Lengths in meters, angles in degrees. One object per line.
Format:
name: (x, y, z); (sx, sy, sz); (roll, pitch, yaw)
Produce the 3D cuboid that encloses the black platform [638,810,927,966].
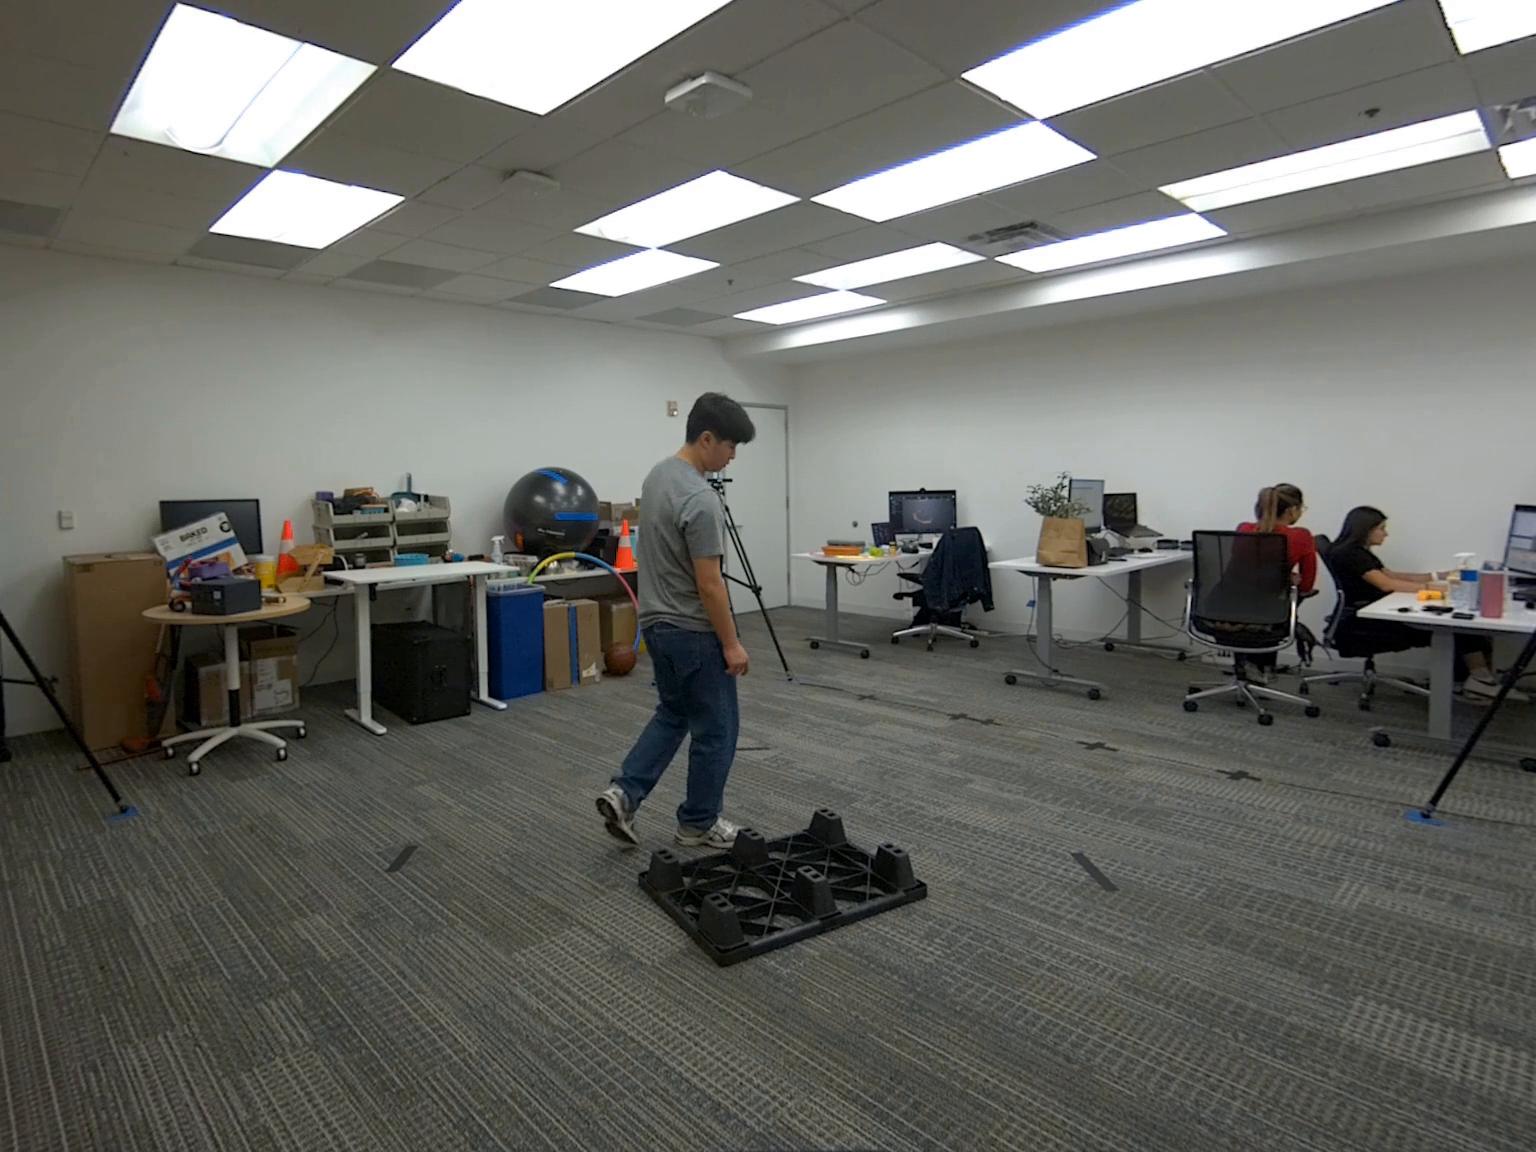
black platform: (0.047, 1.002, 2.896); (0.786, 0.142, 0.623); (-5, 8, -31)
